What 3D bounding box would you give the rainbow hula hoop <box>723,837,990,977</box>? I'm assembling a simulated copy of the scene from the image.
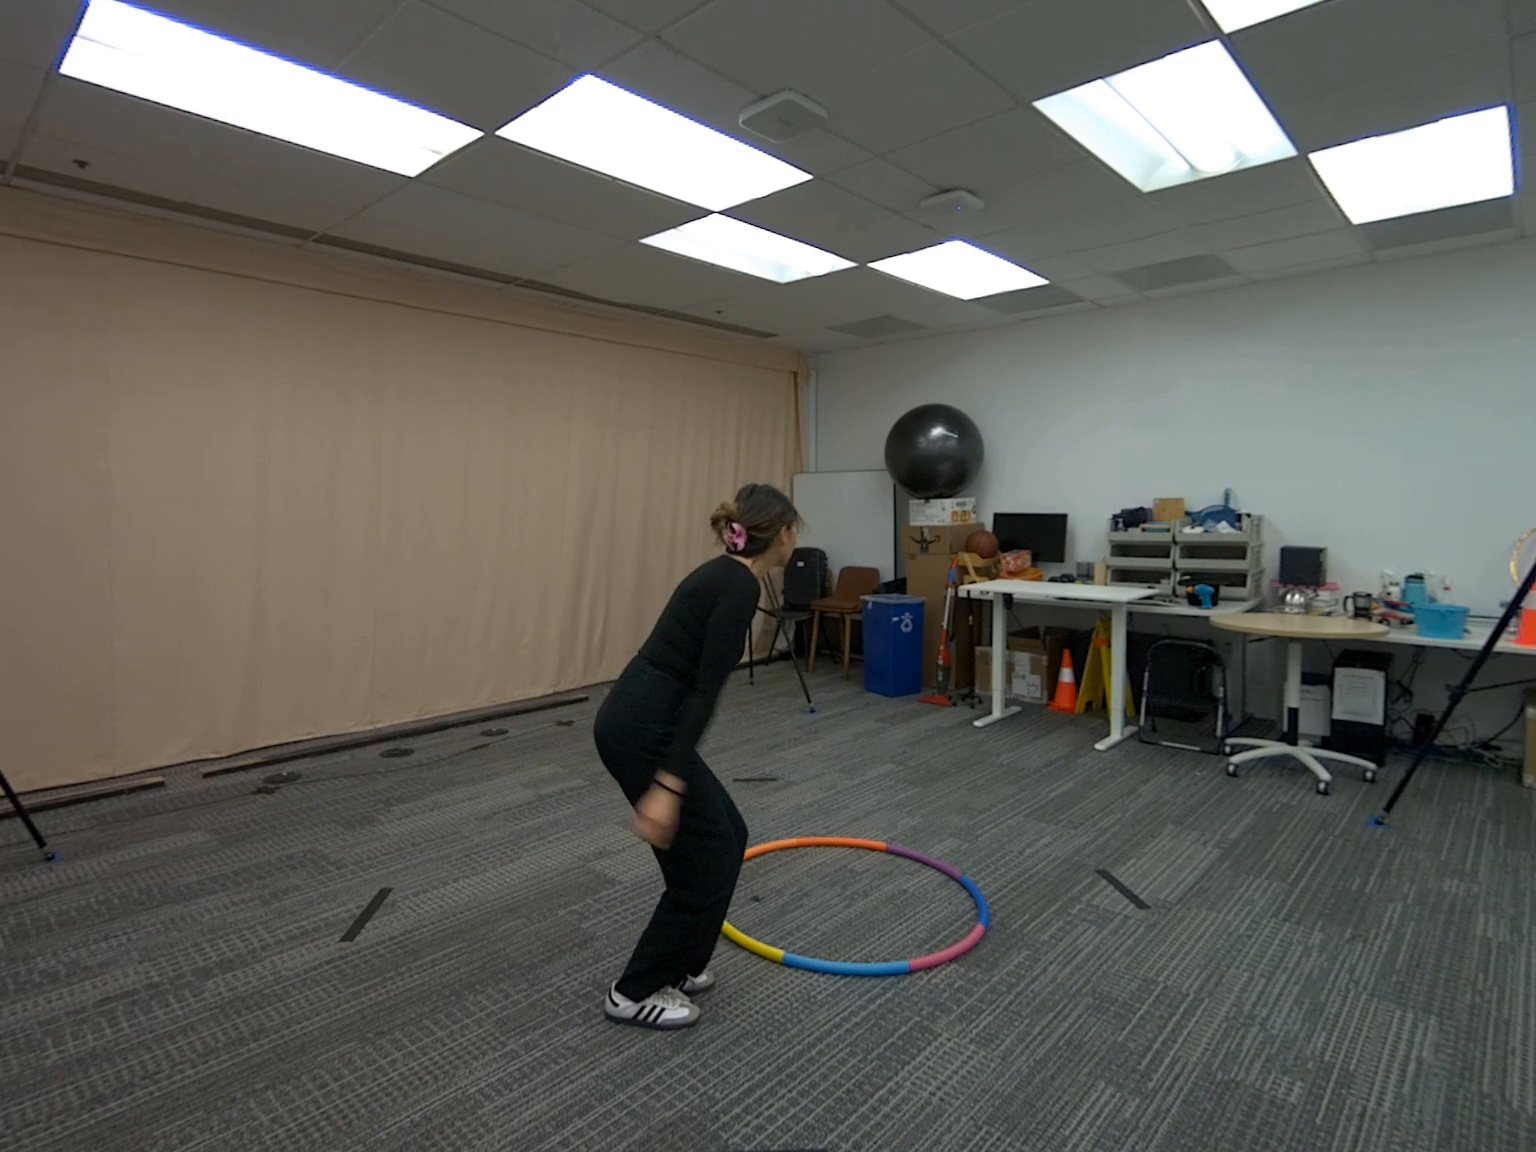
[{"bbox_3d":[0.263,1.116,2.970,0.978,0.035,0.982,0,5,-2],"label":"rainbow hula hoop"}]
